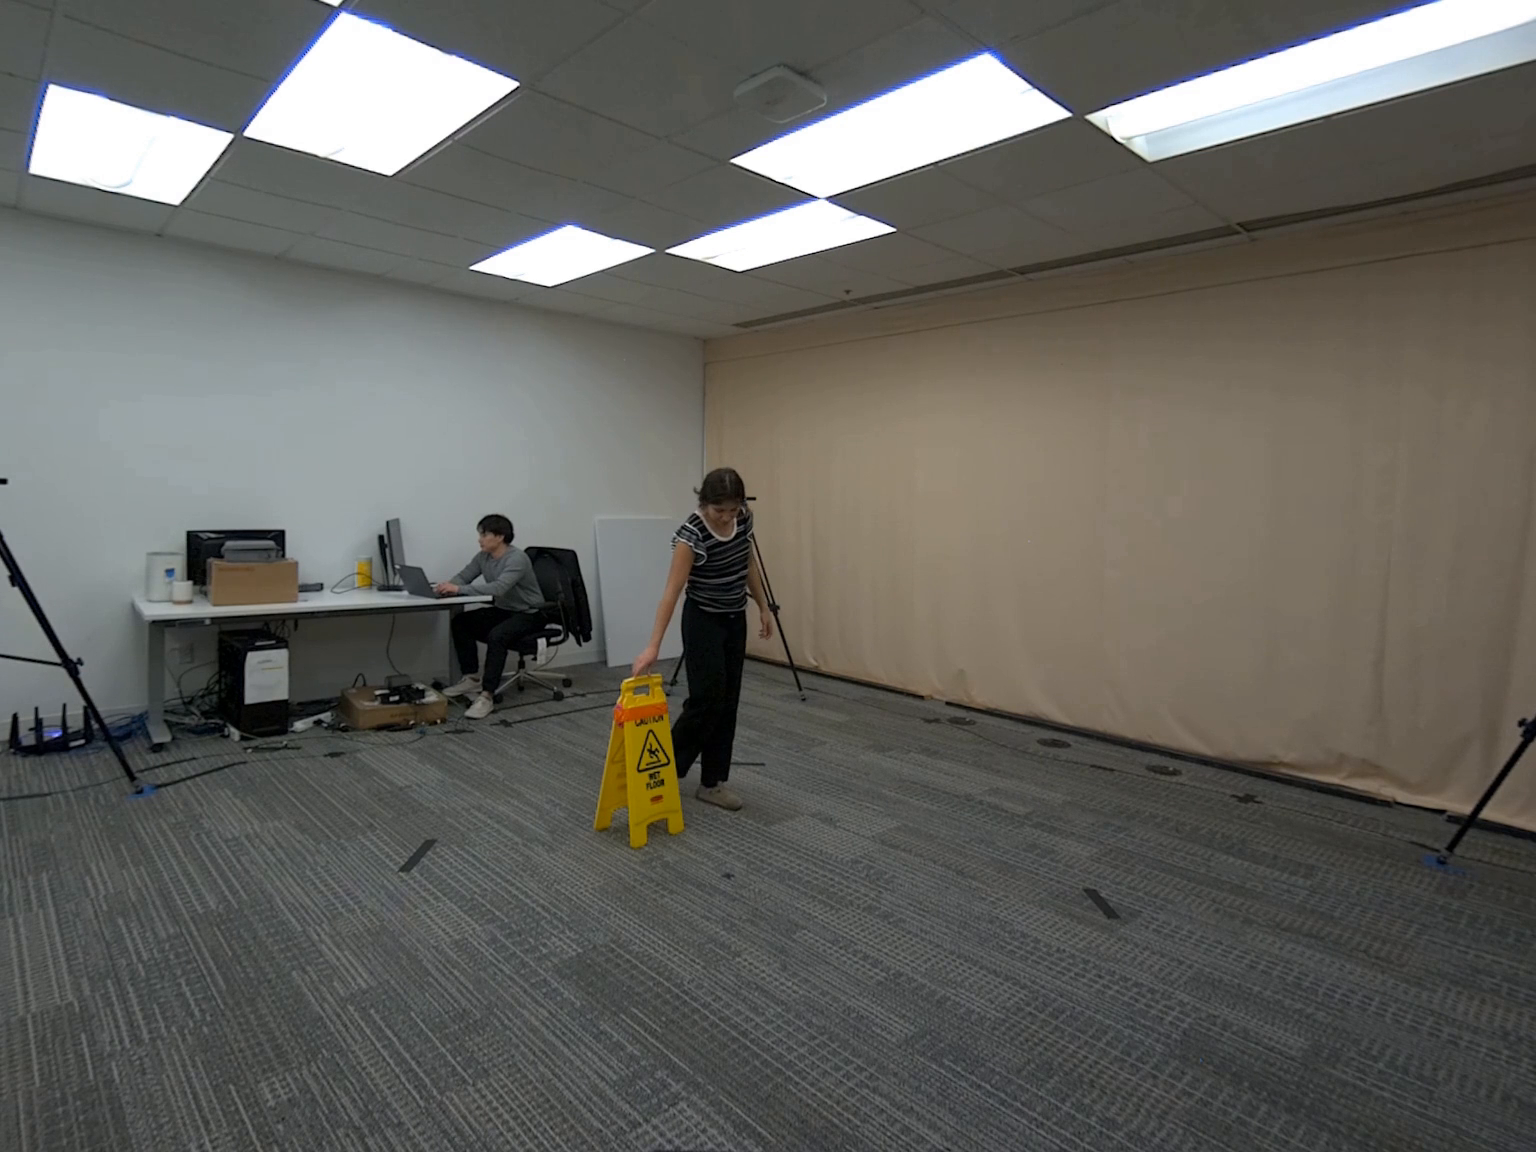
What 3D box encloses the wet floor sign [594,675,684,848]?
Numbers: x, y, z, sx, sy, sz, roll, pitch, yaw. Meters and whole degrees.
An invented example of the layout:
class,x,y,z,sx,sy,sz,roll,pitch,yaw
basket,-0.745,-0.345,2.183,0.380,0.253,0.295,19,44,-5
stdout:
class,x,y,z,sx,sy,sz,roll,pitch,yaw
wet floor sign,-0.541,0.738,3.493,0.297,0.645,0.276,3,3,43
